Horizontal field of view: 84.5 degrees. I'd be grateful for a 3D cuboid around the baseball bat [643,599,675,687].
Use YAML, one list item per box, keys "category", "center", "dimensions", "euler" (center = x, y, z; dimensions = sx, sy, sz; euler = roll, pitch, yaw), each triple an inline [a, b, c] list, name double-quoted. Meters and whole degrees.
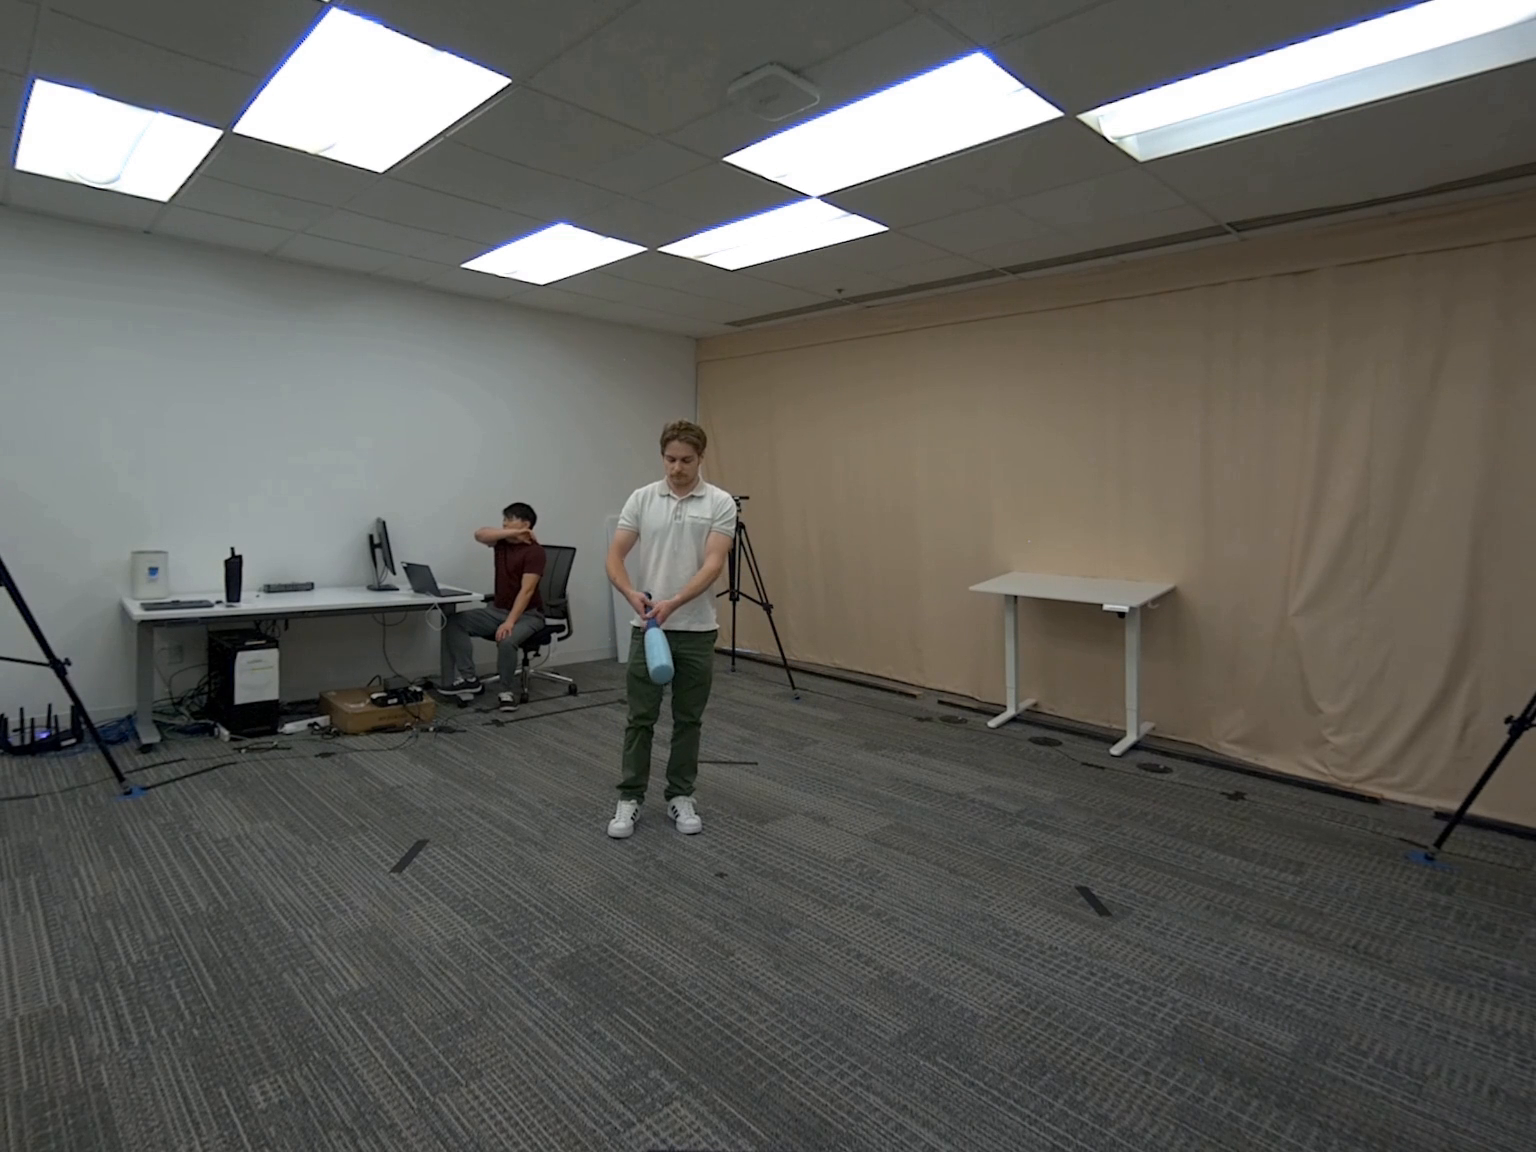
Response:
- category: "baseball bat"
  center: [-0.443, 0.220, 3.102]
  dimensions: [0.088, 0.088, 0.557]
  euler: [0, 28, -13]
